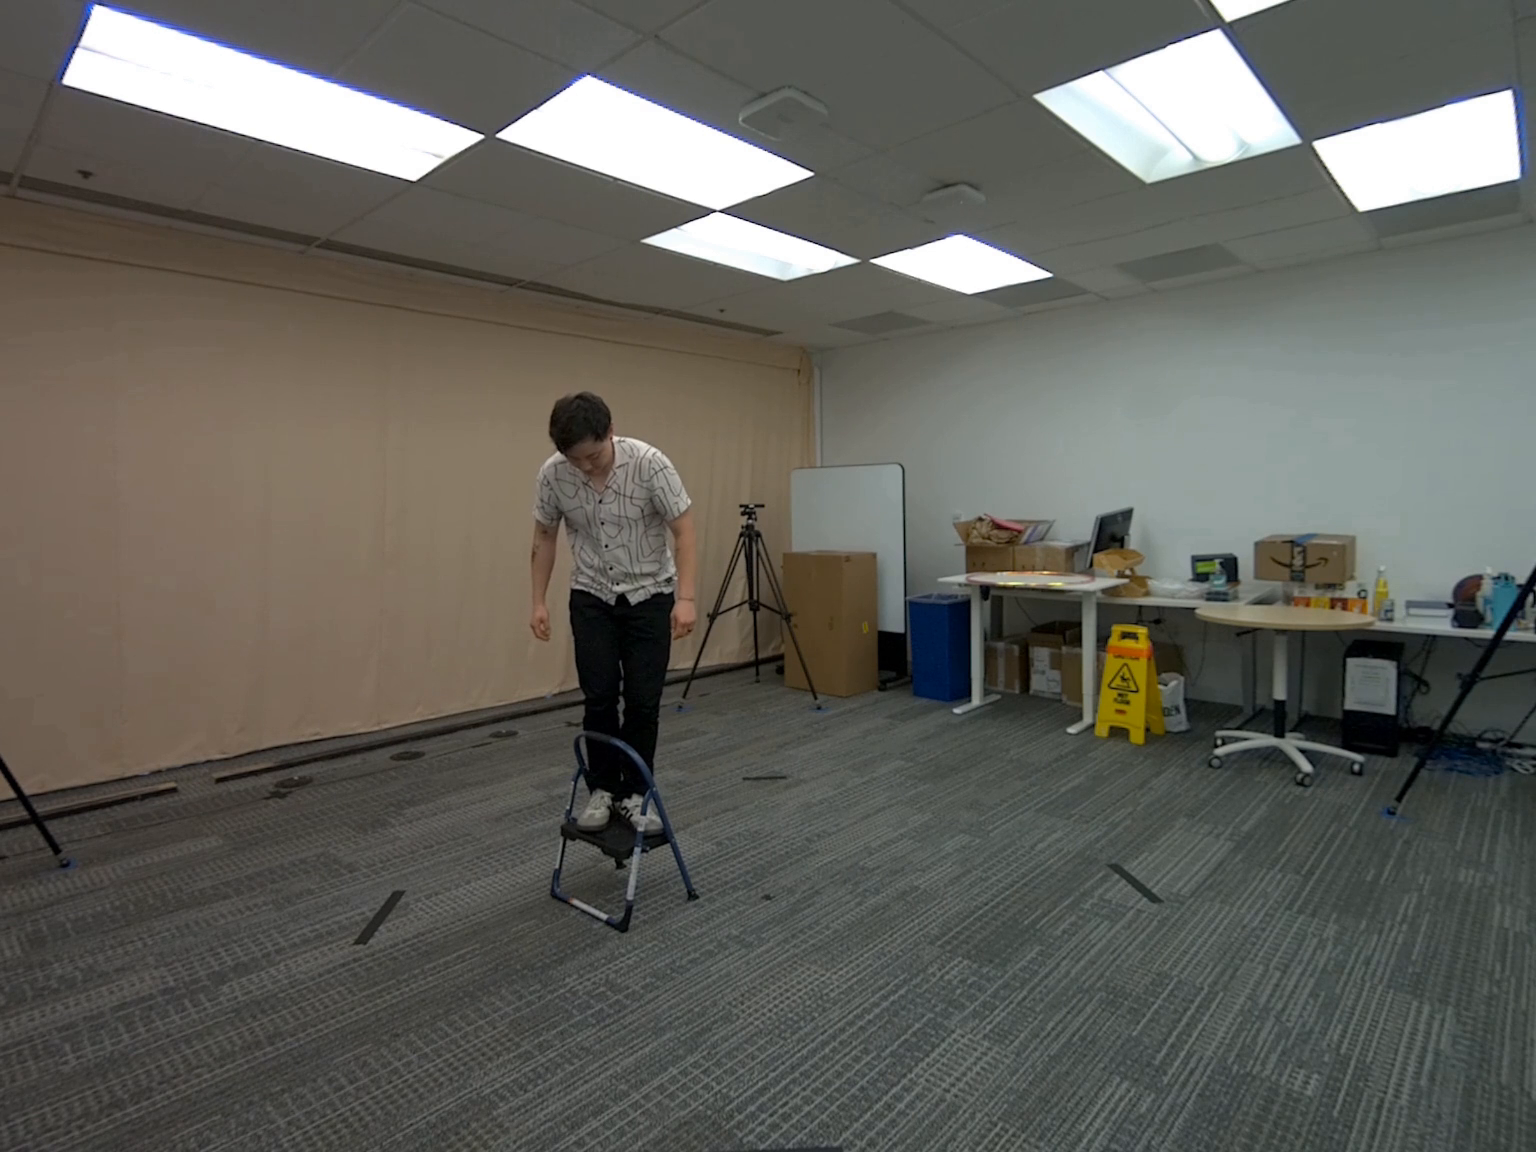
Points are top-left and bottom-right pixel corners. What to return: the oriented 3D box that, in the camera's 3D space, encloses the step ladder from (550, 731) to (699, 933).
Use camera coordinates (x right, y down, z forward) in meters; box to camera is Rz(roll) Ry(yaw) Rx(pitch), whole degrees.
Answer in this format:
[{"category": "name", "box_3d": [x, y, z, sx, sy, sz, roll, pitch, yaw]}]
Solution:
[{"category": "step ladder", "box_3d": [-0.523, 0.846, 2.999, 0.445, 0.604, 0.339, 2, 5, 41]}]
